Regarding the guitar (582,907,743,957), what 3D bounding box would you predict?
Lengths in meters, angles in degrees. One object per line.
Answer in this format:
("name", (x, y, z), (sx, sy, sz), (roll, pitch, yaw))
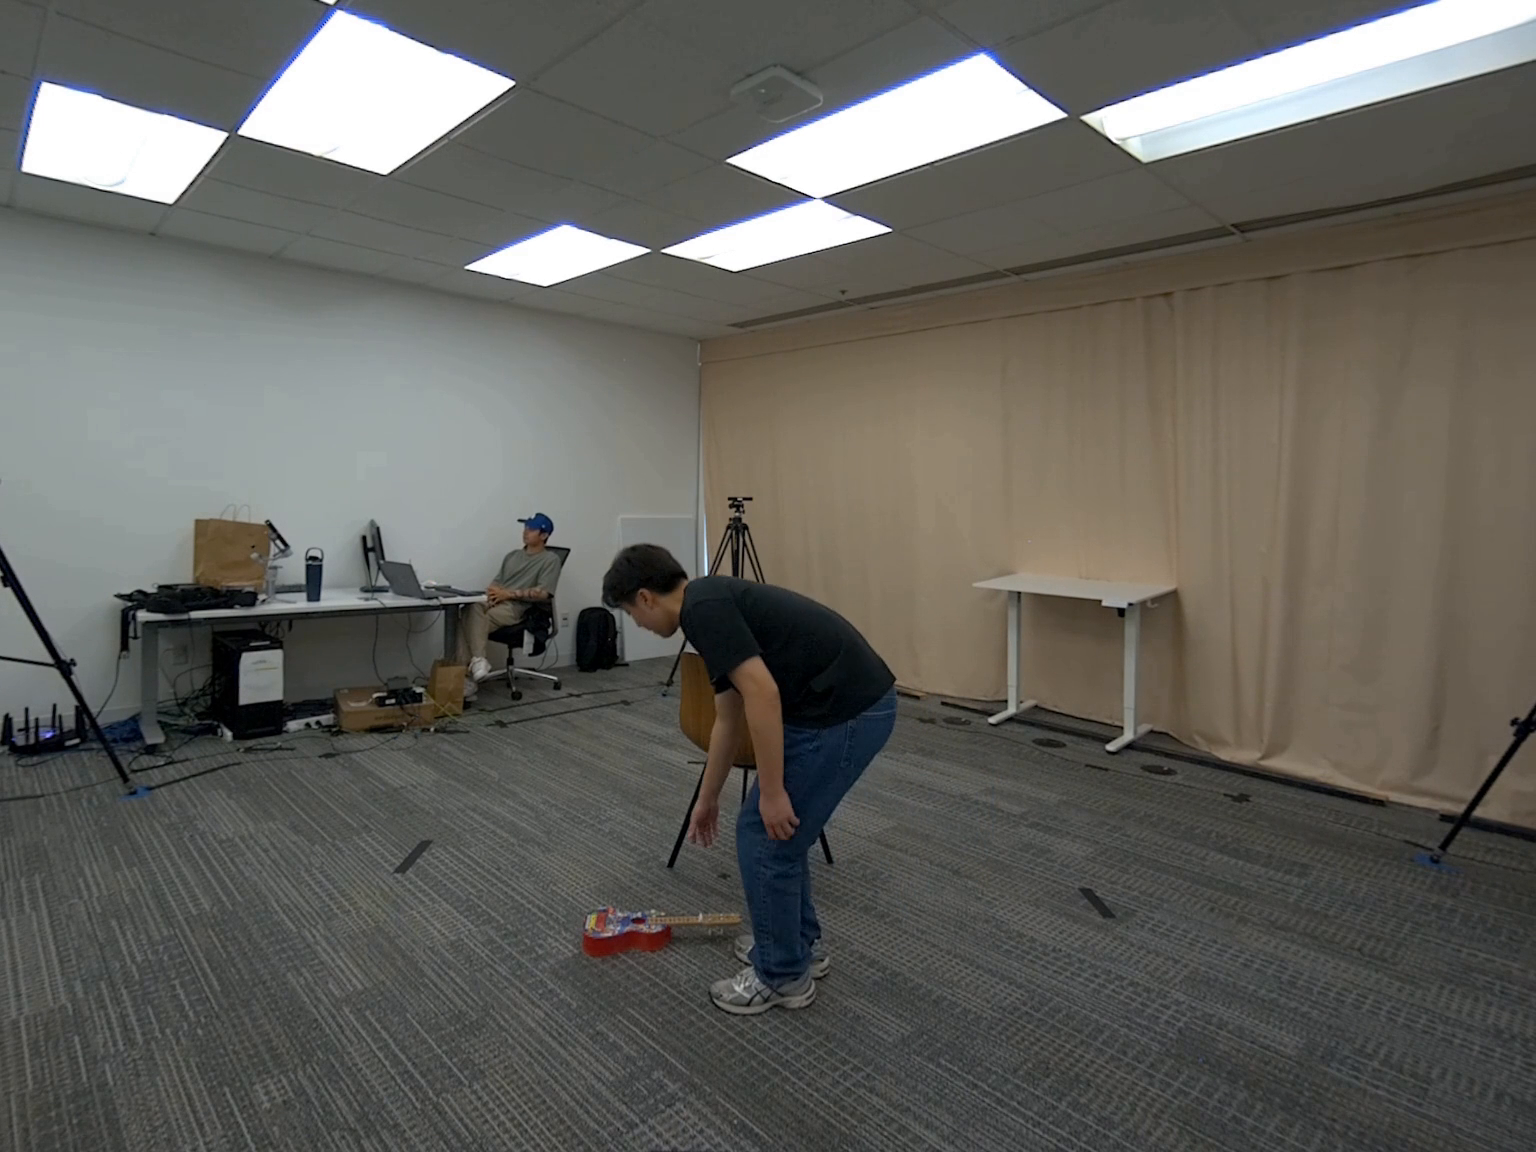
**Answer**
("guitar", (-0.341, 1.114, 2.618), (0.500, 0.070, 0.193), (1, 4, 4))
